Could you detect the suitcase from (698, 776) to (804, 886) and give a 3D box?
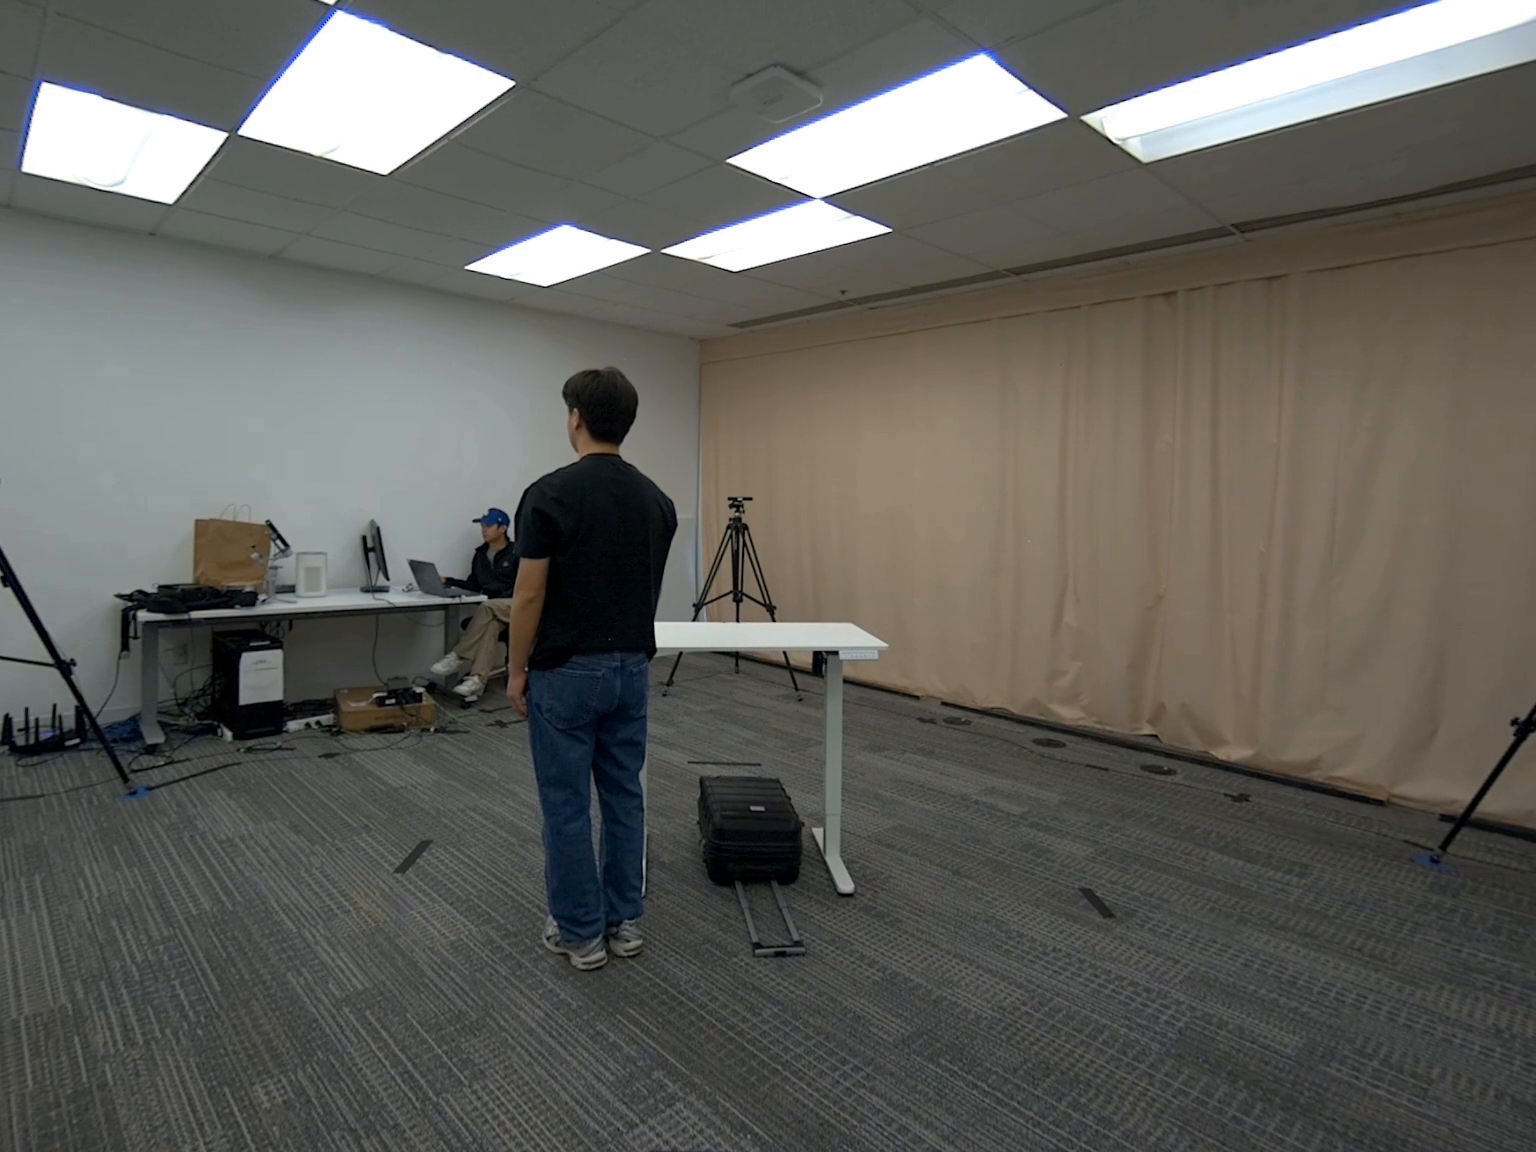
[{"bbox_3d":[-0.054,0.986,3.044,0.381,0.256,0.987,2,4,-9],"label":"suitcase"}]
